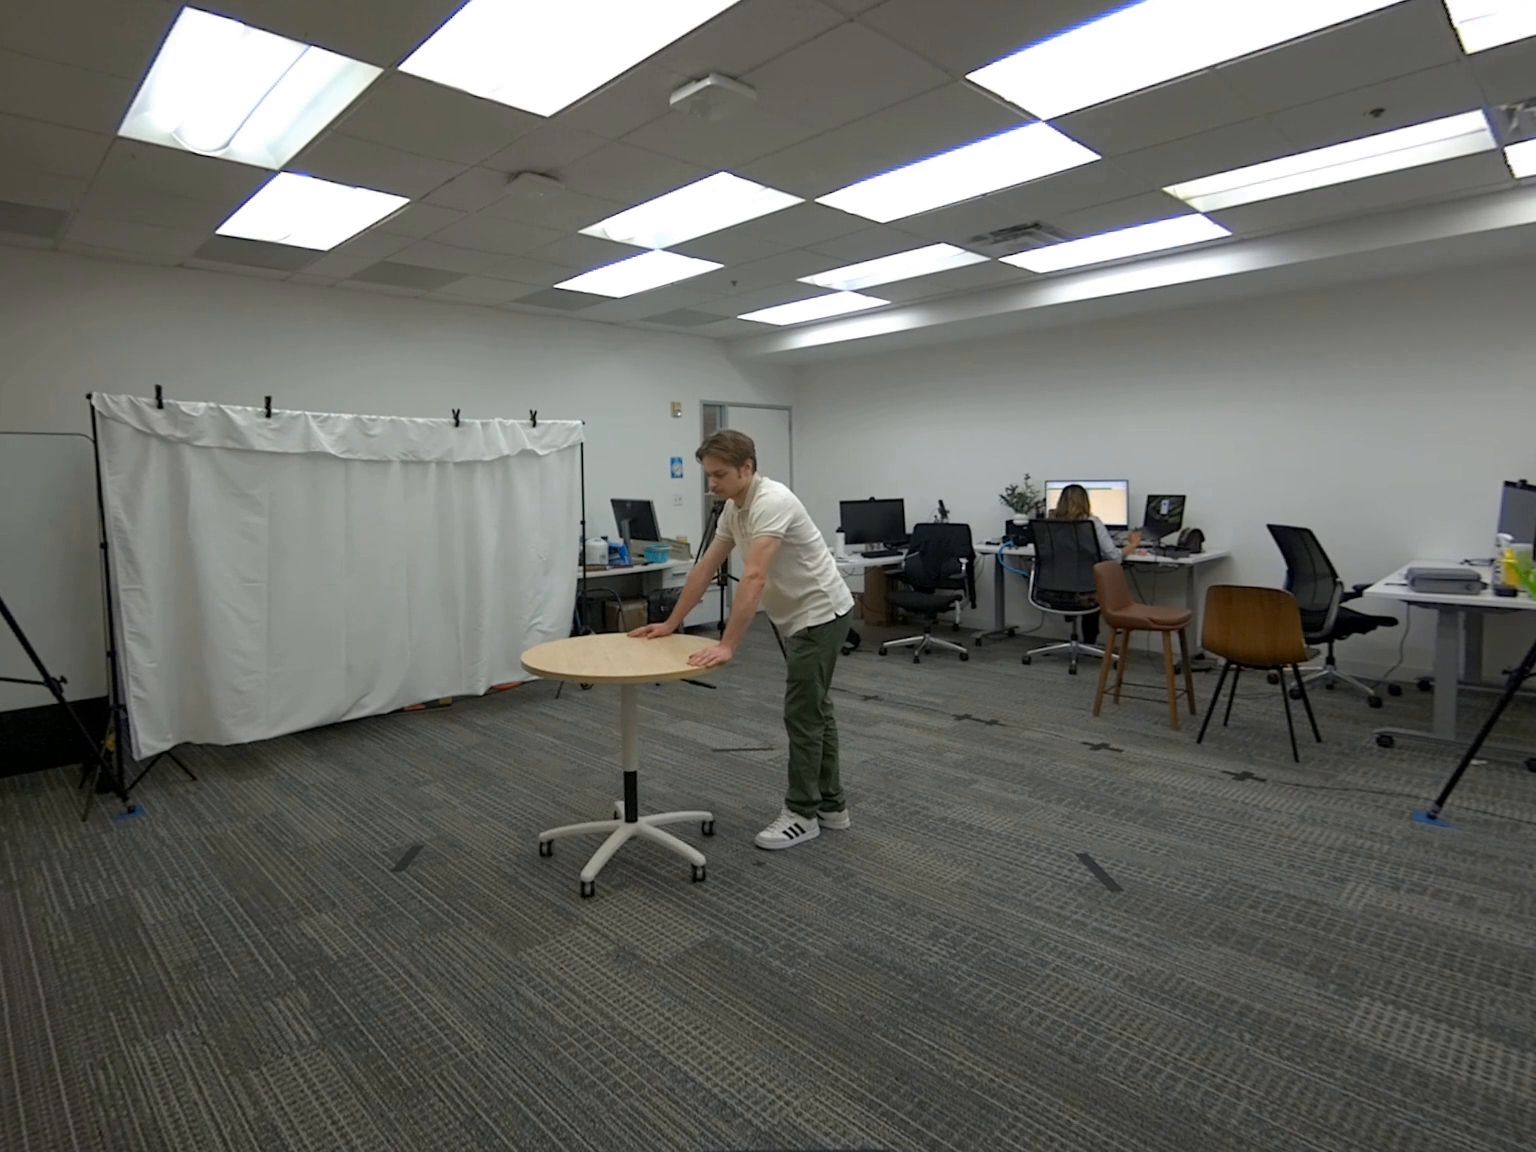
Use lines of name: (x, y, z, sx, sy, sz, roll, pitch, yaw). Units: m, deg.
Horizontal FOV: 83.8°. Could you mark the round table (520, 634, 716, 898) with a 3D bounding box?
round table: (-0.512, 0.664, 3.157, 0.763, 0.791, 0.768, -1, 5, -2)
